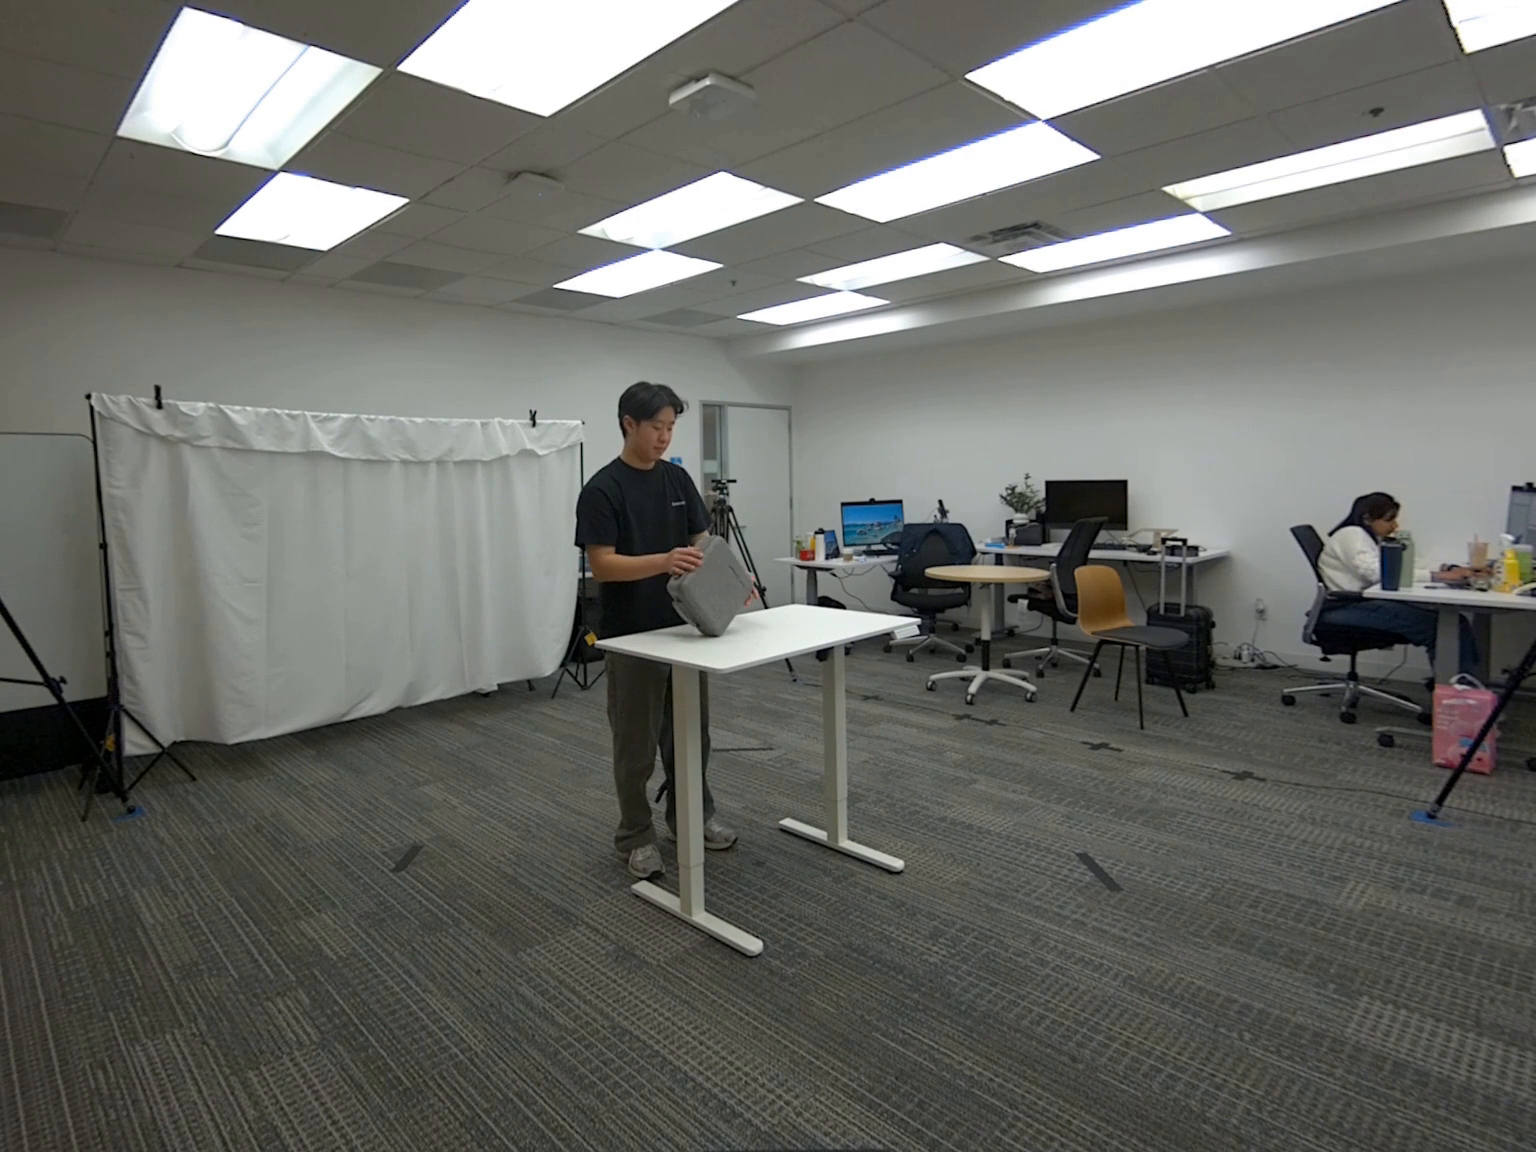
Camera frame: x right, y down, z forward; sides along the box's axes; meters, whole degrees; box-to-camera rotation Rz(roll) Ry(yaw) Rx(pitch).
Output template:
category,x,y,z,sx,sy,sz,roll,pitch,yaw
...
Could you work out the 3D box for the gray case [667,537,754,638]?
category,x,y,z,sx,sy,sz,roll,pitch,yaw
gray case,-0.188,0.040,2.838,0.107,0.248,0.262,0,44,40
